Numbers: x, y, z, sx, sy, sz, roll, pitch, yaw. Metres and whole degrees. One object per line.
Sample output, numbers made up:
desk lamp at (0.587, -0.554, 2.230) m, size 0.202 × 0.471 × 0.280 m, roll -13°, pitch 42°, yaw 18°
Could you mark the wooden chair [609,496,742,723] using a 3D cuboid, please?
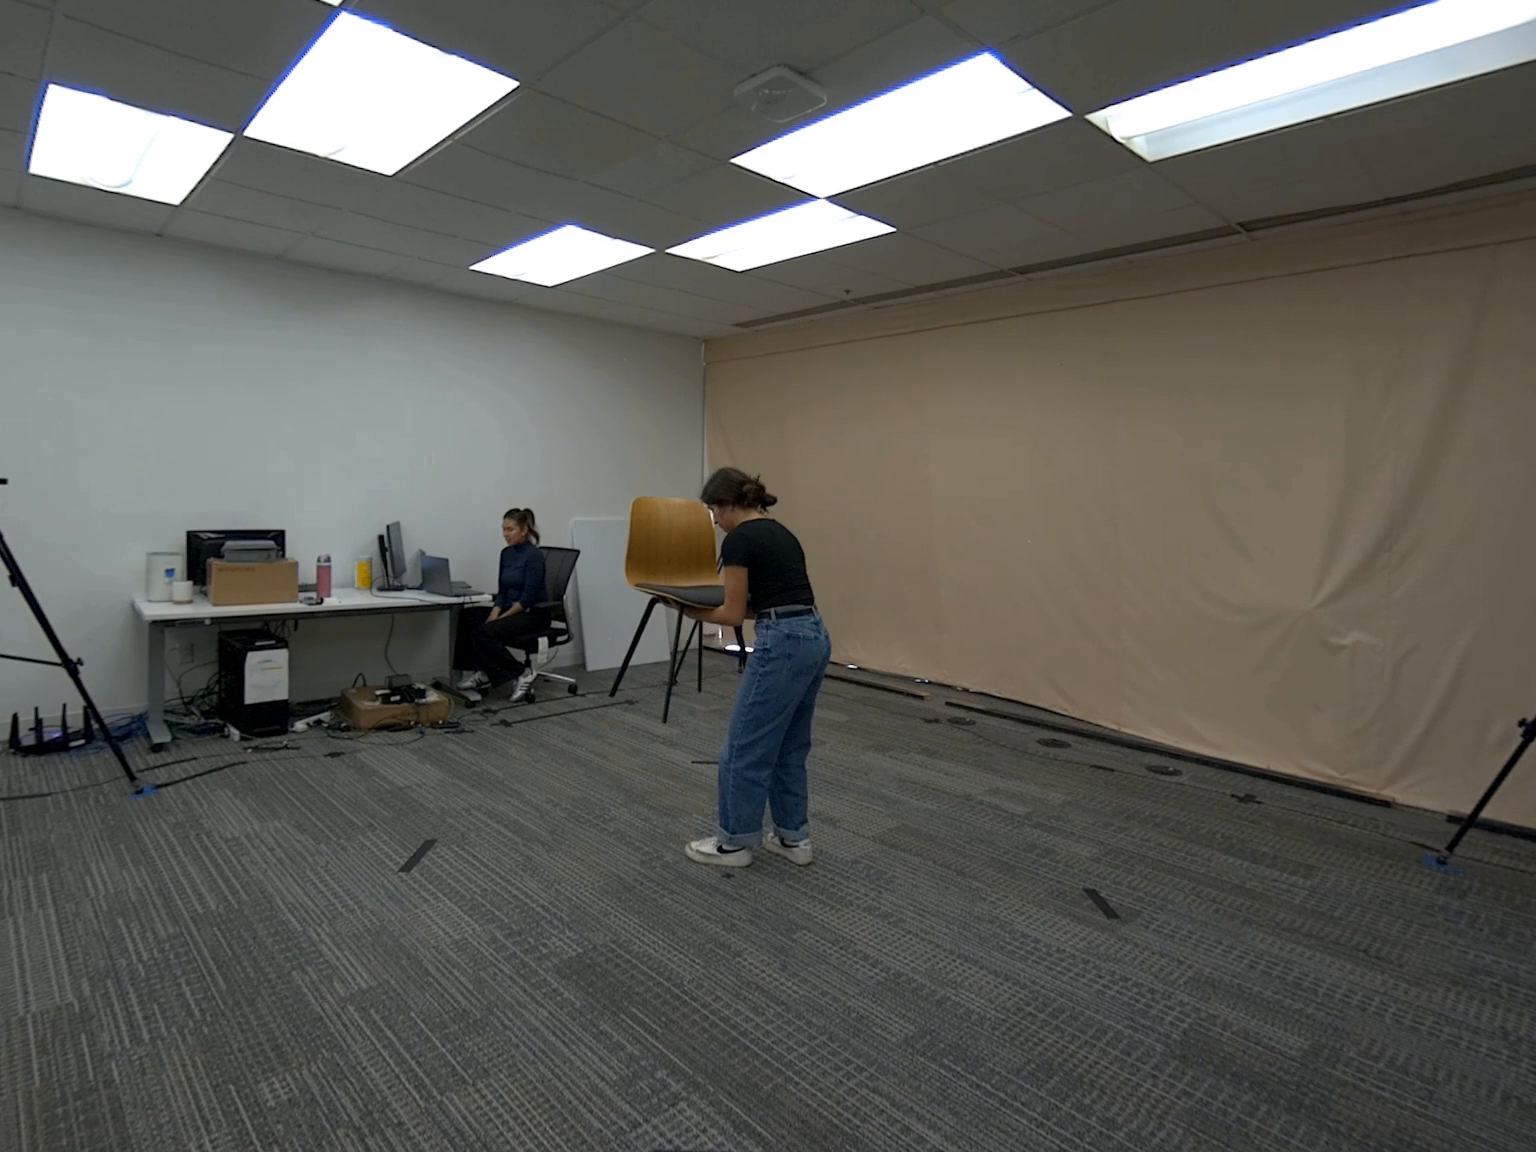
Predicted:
wooden chair at (-0.305, 0.118, 3.402) m, size 0.467 × 0.878 × 0.535 m, roll 3°, pitch -1°, yaw -36°
